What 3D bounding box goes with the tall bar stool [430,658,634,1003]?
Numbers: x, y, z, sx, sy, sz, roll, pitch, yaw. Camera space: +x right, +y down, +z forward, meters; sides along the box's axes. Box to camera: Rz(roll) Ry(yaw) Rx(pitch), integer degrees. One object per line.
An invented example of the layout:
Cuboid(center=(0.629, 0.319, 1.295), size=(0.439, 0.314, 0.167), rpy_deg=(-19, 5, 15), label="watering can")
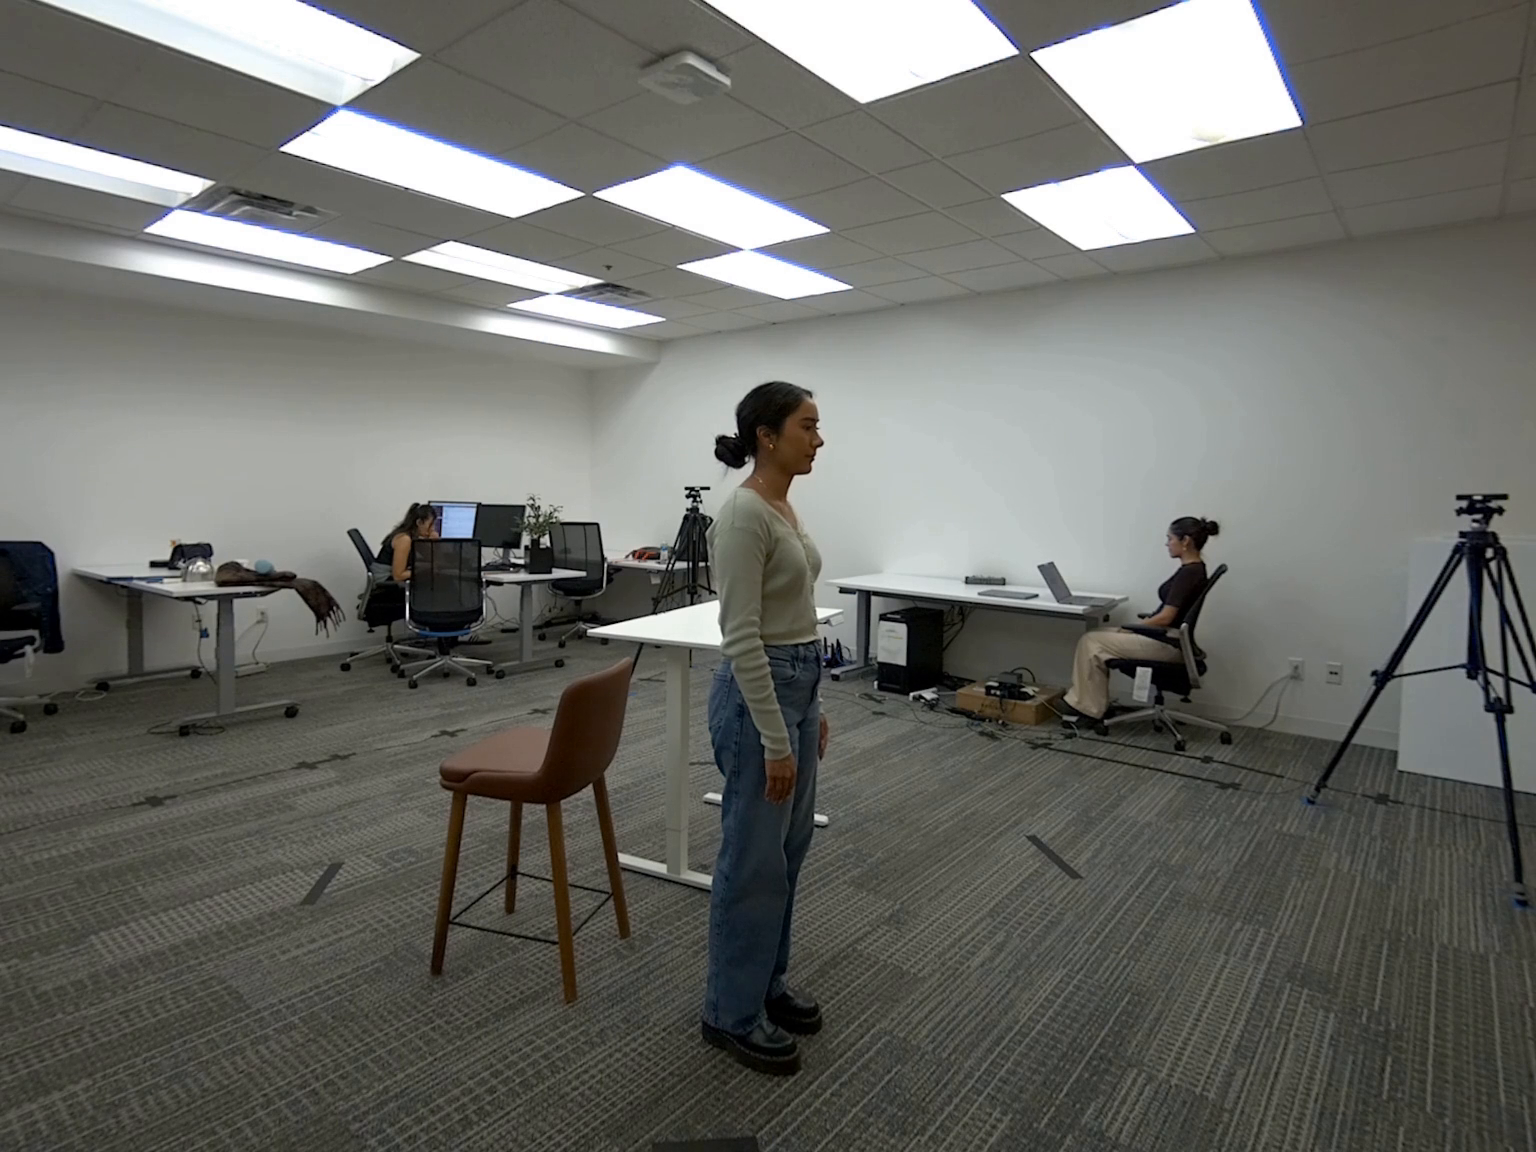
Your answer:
Cuboid(center=(-0.687, 0.685, 2.501), size=(0.477, 0.887, 0.449), rpy_deg=(4, 4, 18), label="tall bar stool")
